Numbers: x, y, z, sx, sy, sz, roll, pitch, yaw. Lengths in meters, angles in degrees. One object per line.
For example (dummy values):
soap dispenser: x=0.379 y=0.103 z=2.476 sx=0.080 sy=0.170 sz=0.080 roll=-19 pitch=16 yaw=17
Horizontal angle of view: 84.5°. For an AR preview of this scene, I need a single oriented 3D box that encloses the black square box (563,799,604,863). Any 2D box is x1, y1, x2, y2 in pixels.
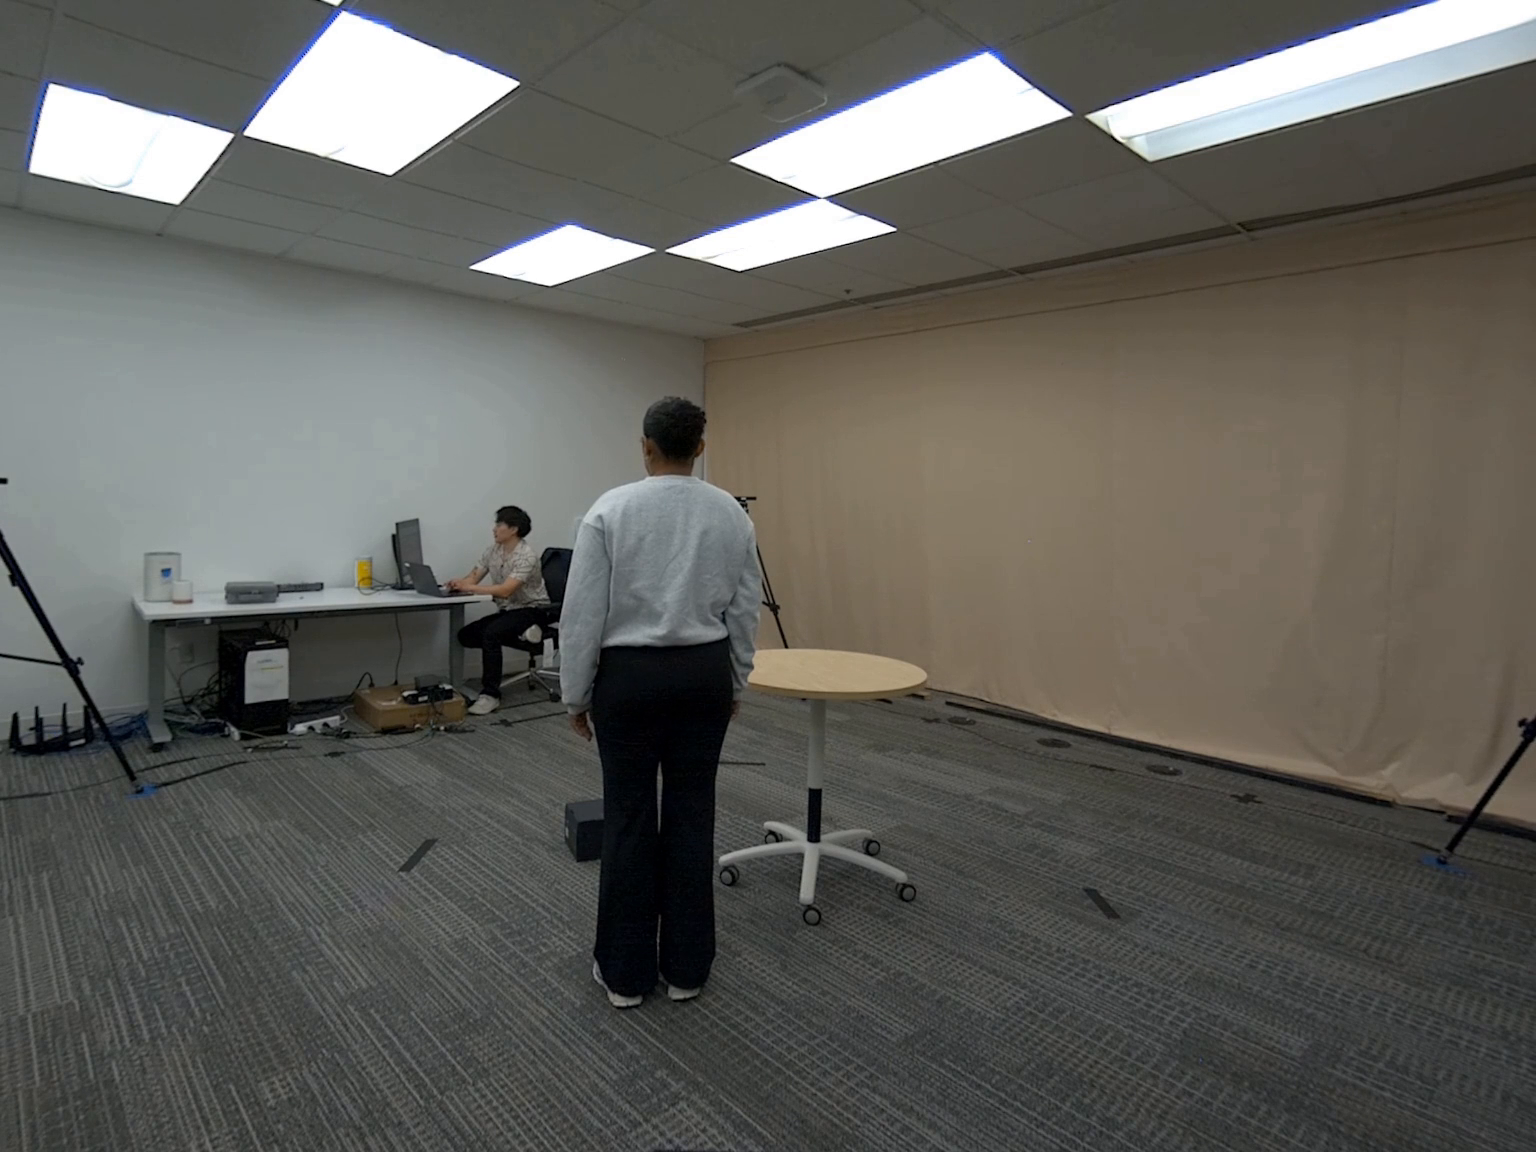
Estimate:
black square box: x=-0.671 y=0.992 z=3.321 sx=0.224 sy=0.155 sz=0.221 roll=-1 pitch=5 yaw=-24
